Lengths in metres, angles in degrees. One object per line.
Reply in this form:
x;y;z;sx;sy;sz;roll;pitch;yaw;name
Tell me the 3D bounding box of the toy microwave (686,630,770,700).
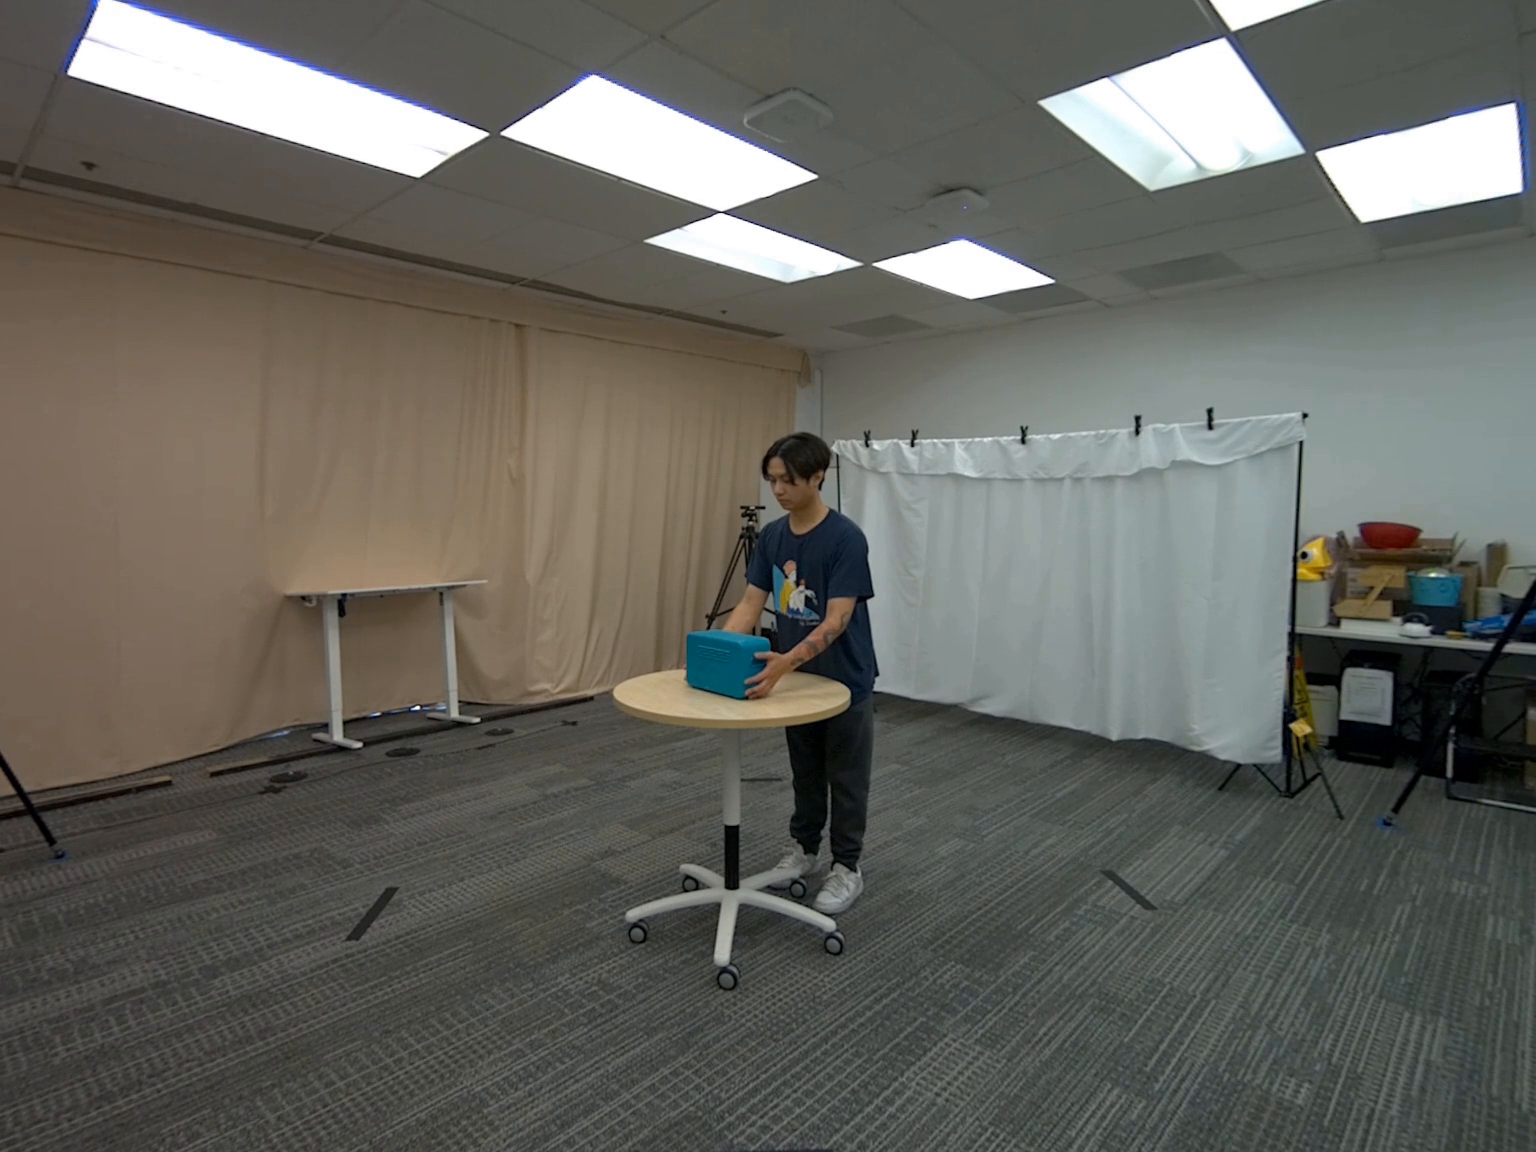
-0.126;0.285;2.707;0.148;0.183;0.296;-4;6;-39;toy microwave
